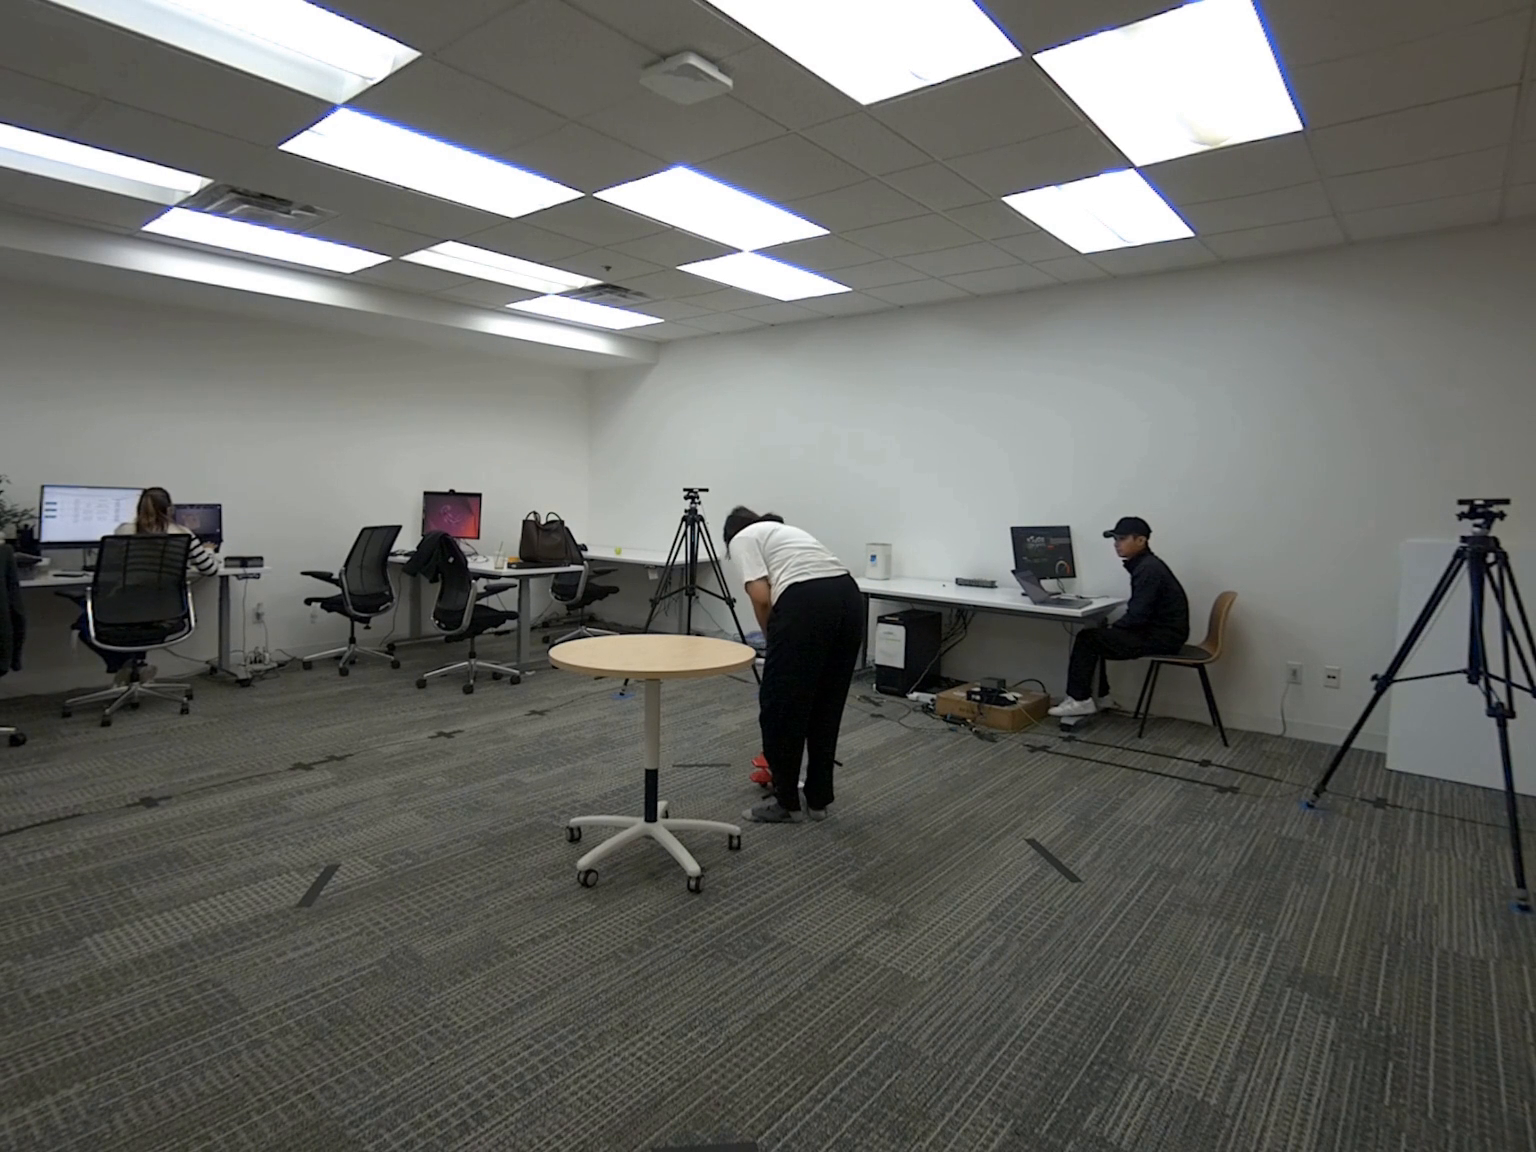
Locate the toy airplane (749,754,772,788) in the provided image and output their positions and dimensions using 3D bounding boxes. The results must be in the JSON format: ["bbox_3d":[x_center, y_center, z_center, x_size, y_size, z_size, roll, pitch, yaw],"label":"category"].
[{"bbox_3d":[0.059,0.915,3.953,0.267,0.156,0.244,3,4,34],"label":"toy airplane"}]
